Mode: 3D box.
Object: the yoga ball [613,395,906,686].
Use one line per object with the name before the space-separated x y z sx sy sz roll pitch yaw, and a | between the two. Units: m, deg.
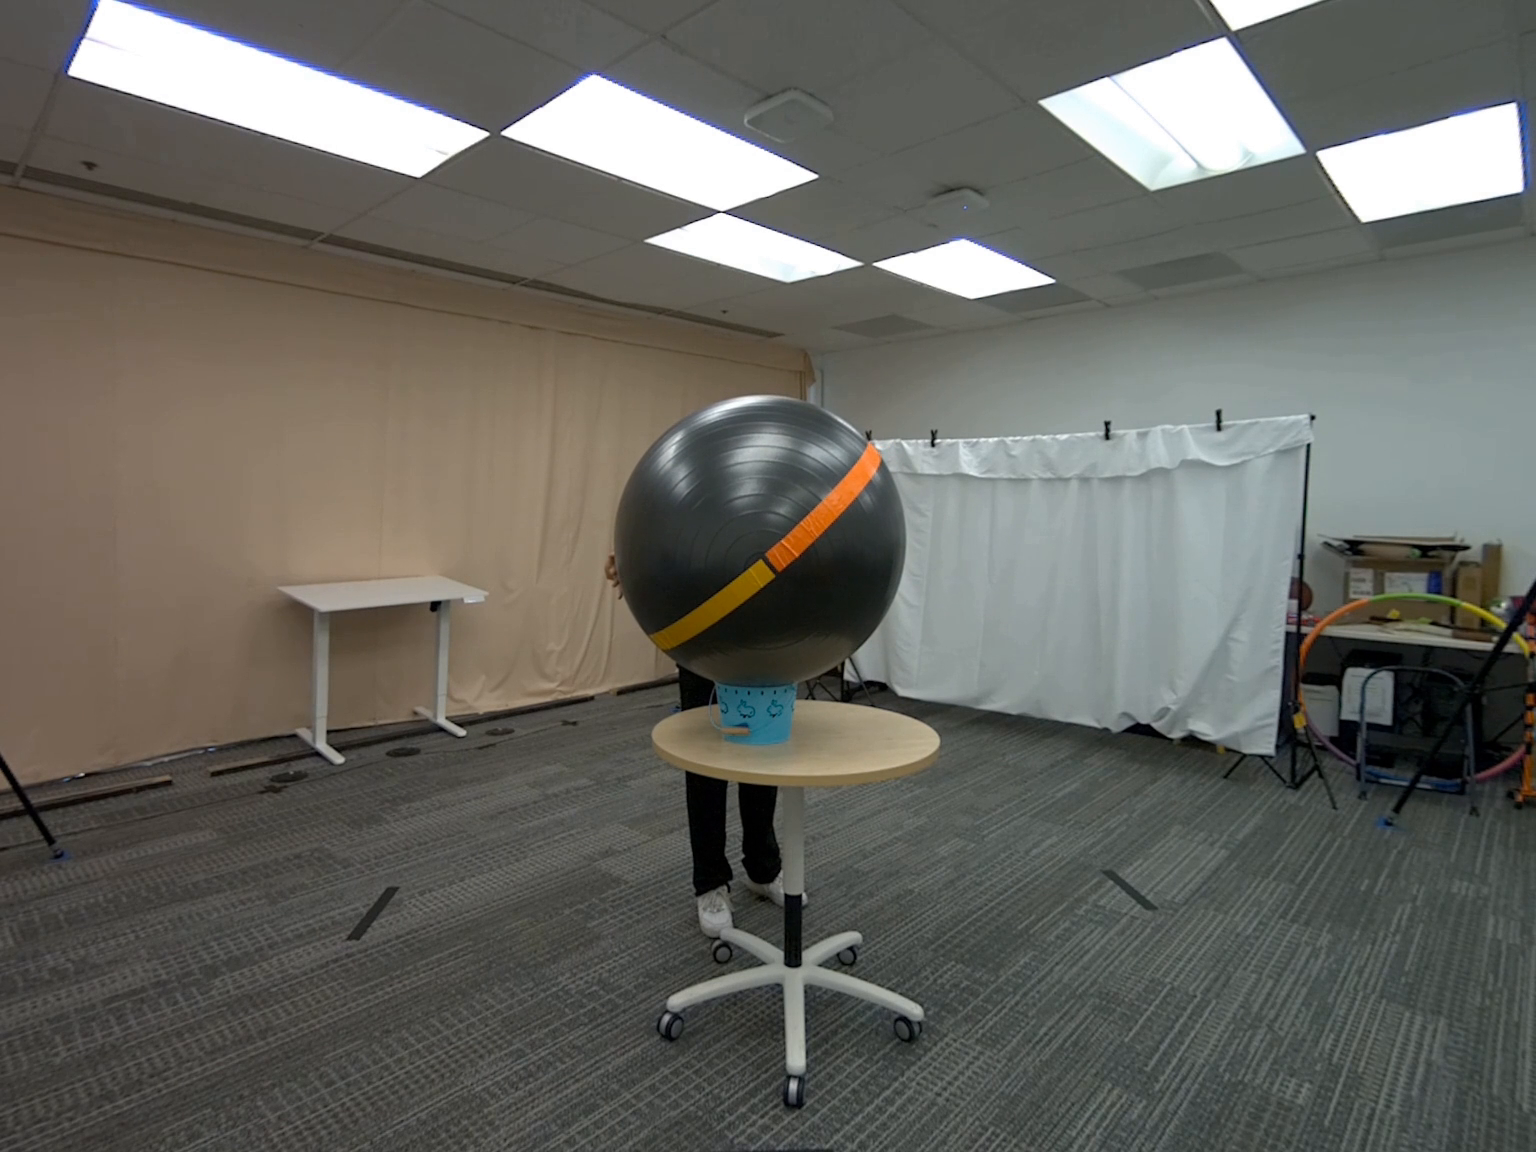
yoga ball | -0.021 -0.086 2.203 0.757 0.756 0.760 0 4 -2
